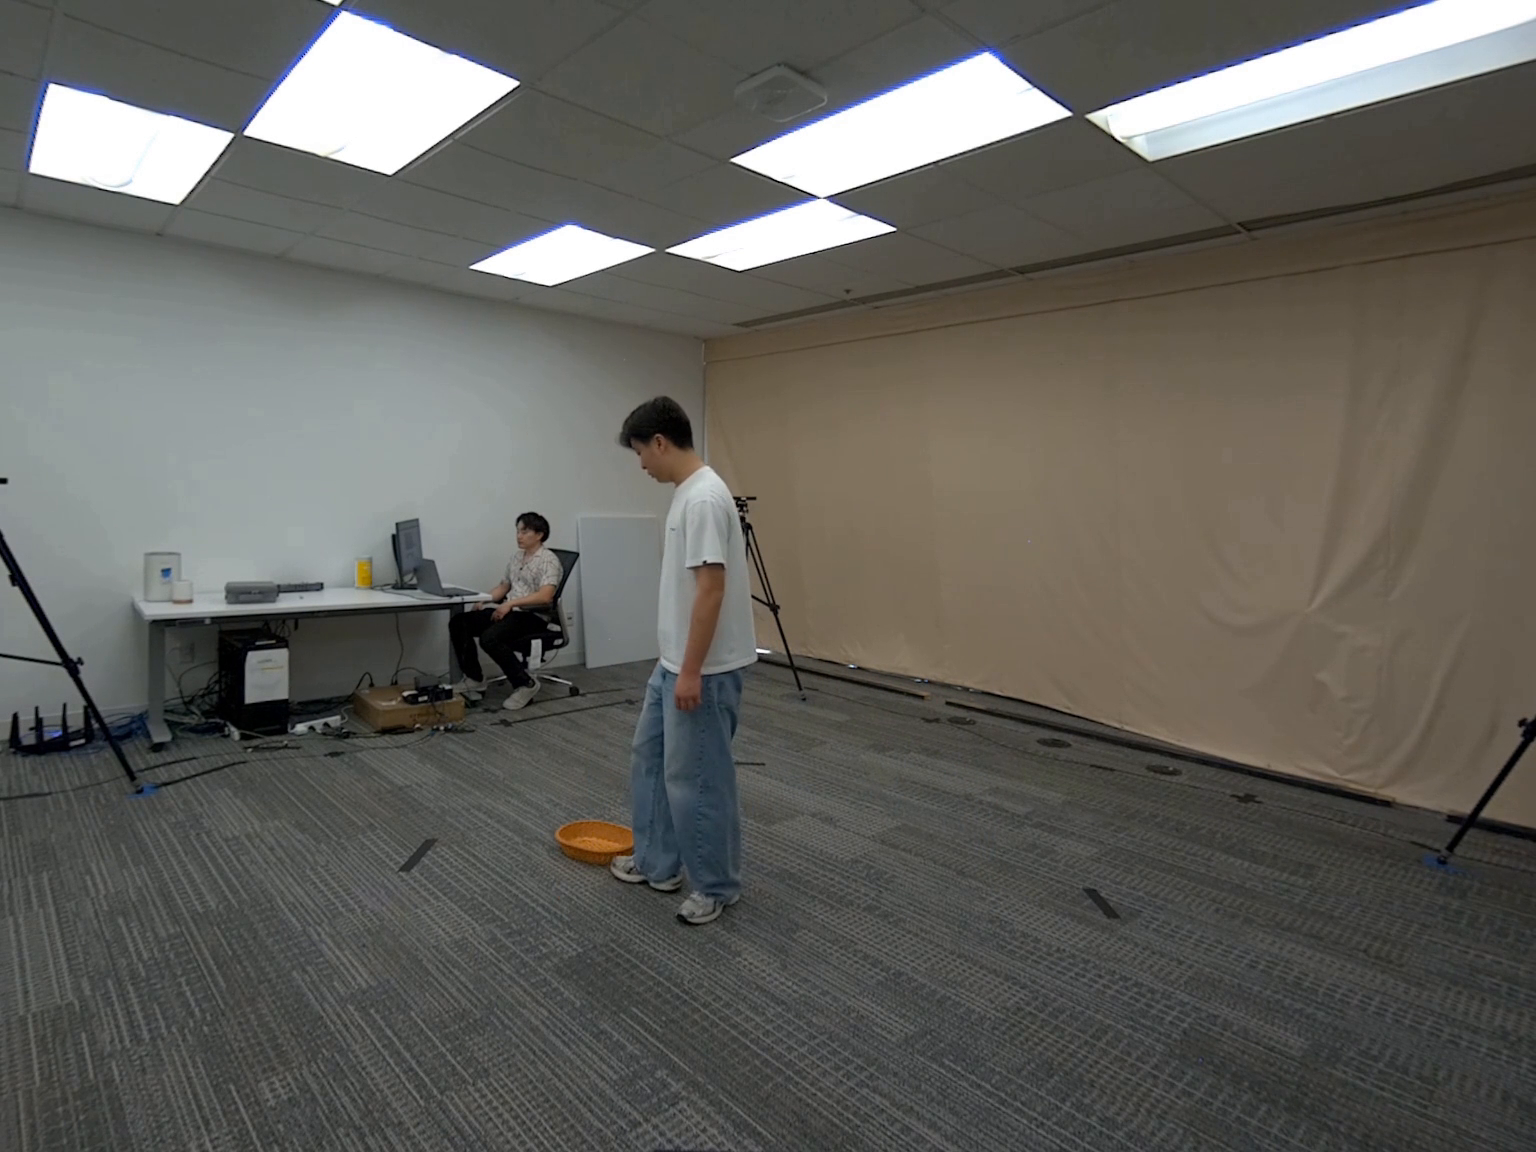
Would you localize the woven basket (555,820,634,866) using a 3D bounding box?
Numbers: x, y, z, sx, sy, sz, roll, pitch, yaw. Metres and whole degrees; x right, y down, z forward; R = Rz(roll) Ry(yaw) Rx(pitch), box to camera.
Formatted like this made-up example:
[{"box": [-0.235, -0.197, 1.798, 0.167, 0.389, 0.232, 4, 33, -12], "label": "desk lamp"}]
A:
[{"box": [-0.675, 1.043, 3.271, 0.359, 0.073, 0.247, 6, 6, 33], "label": "woven basket"}]
